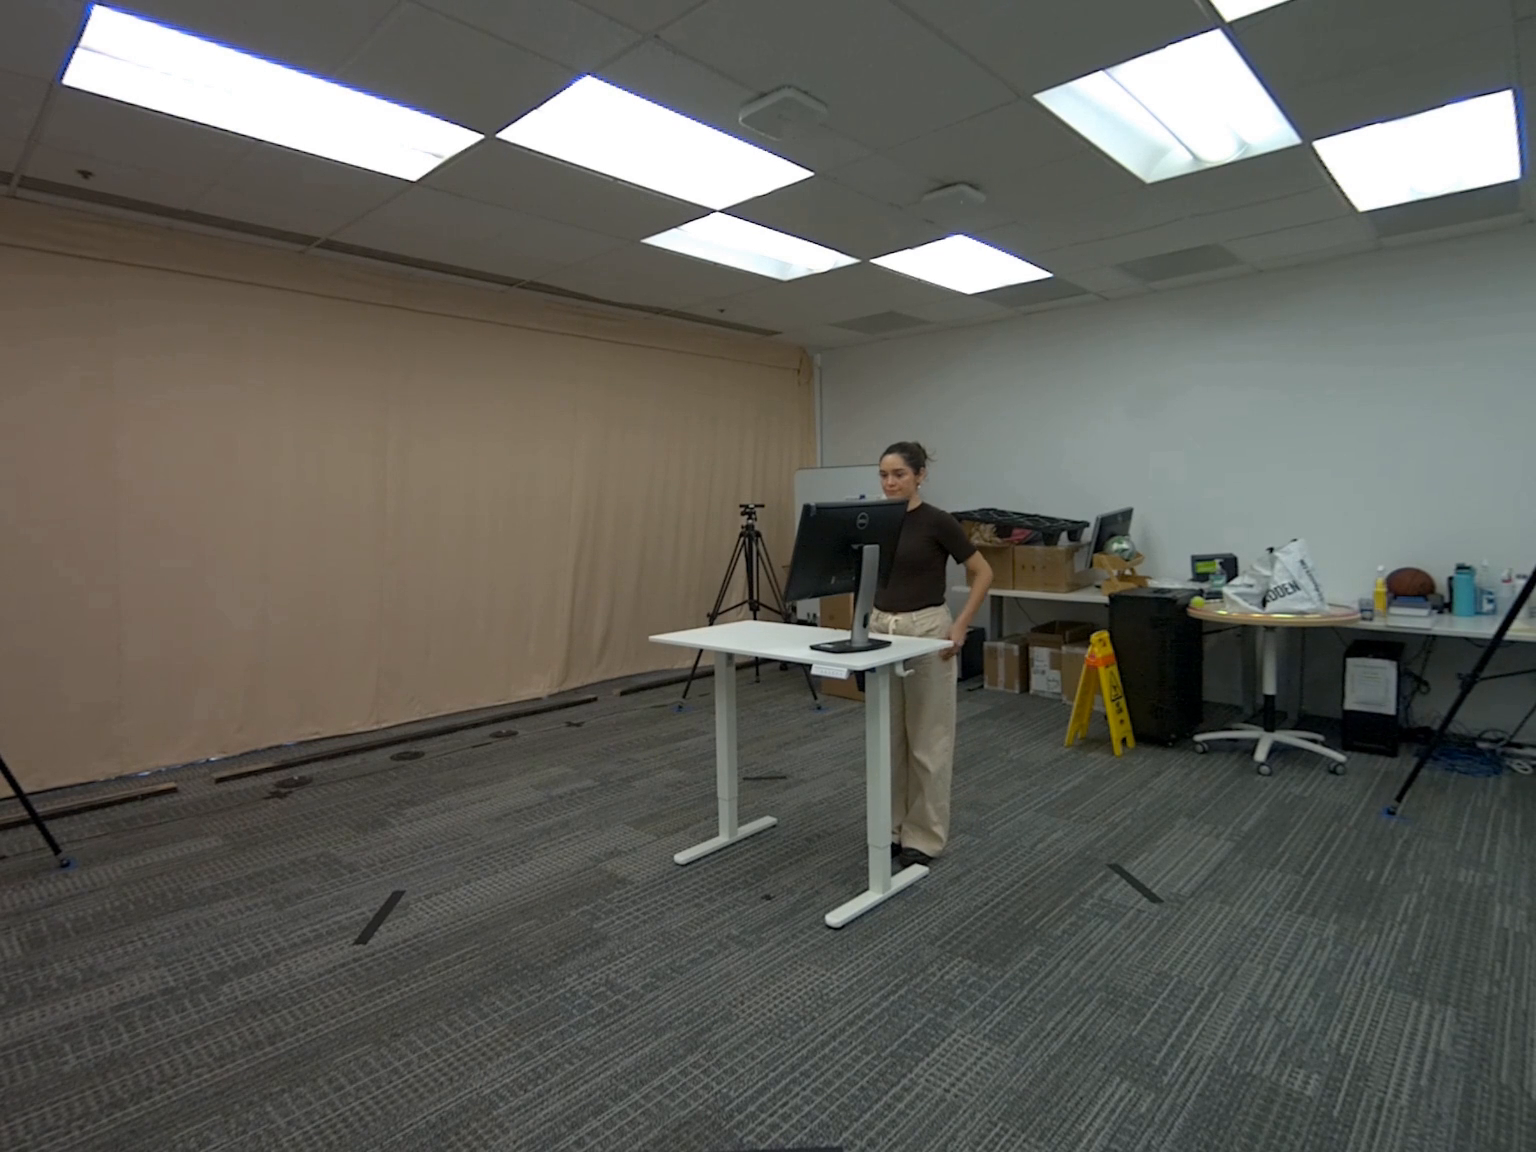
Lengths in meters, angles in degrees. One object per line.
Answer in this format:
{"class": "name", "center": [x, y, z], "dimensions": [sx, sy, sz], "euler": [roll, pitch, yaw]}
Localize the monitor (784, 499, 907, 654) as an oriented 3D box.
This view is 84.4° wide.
{"class": "monitor", "center": [0.312, 0.000, 2.931], "dimensions": [0.523, 0.520, 0.193], "euler": [-6, 10, -40]}
